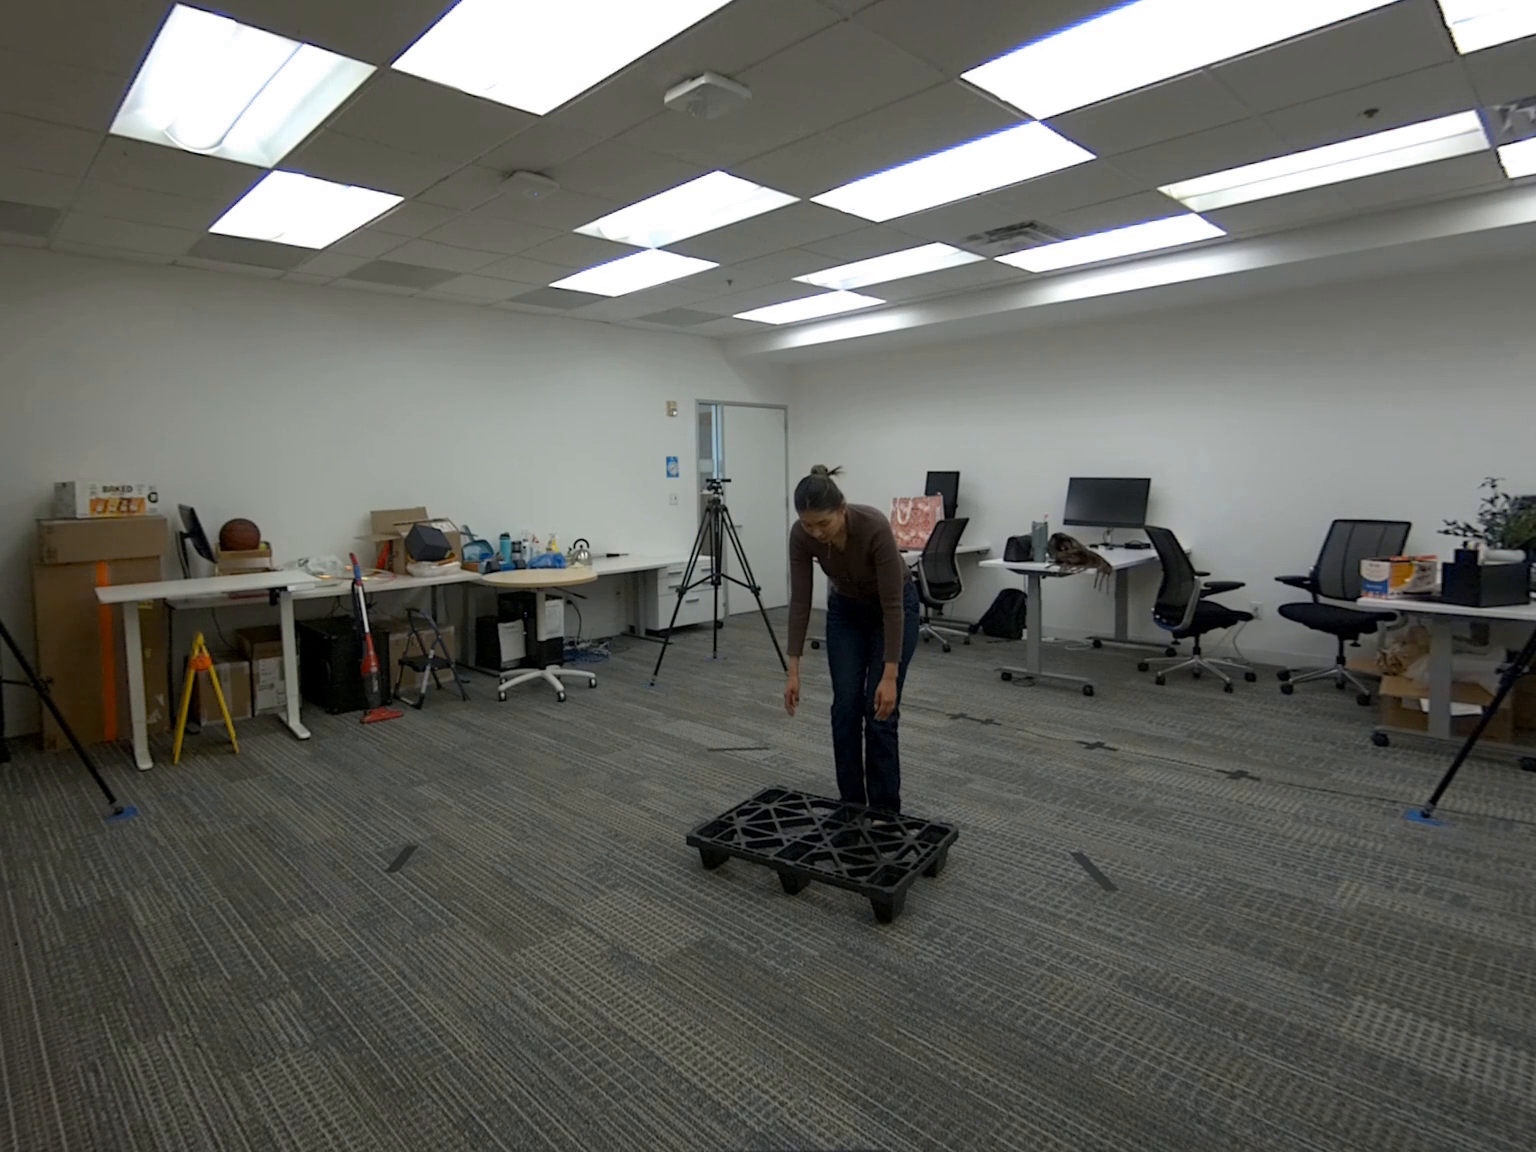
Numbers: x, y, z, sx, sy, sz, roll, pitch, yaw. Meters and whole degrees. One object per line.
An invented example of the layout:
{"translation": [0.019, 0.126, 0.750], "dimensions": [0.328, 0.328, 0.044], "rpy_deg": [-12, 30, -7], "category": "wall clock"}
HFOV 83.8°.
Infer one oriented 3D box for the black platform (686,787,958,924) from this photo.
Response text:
{"translation": [0.199, 0.979, 3.058], "dimensions": [0.828, 0.142, 0.591], "rpy_deg": [3, 8, 34], "category": "black platform"}
